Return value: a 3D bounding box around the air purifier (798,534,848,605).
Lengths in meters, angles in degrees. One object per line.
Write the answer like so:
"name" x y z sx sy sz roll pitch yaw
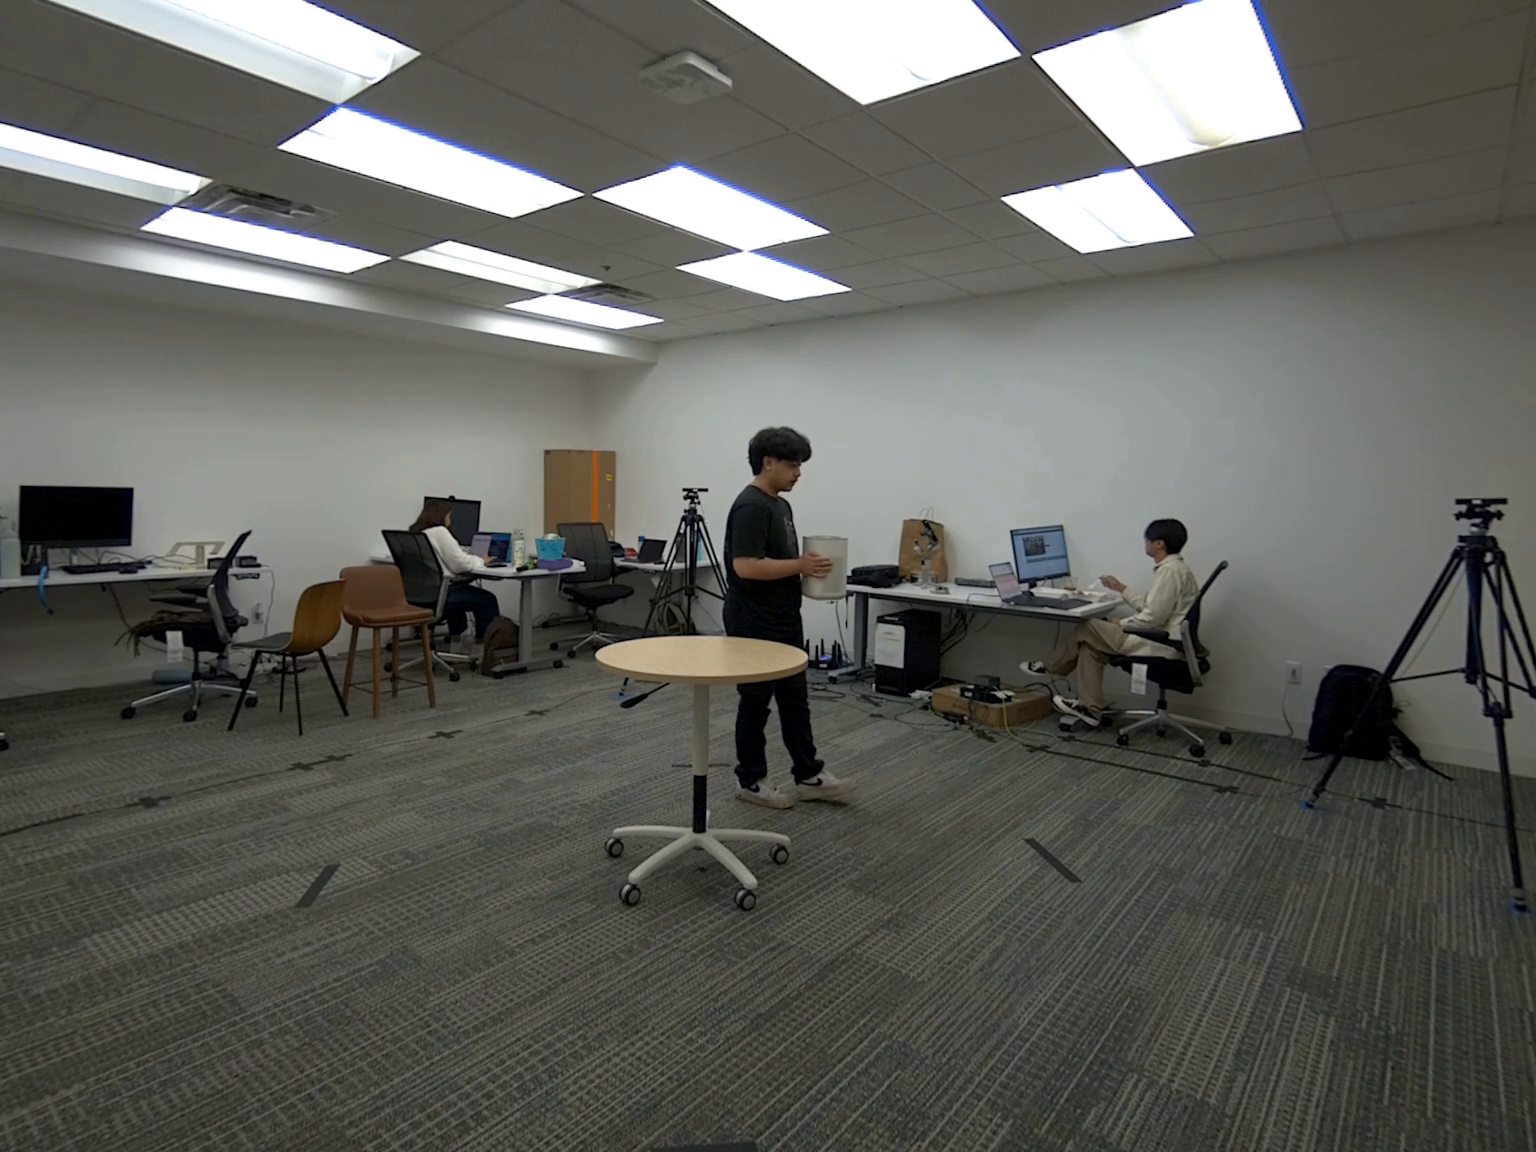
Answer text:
"air purifier" 0.221 -0.034 3.649 0.168 0.263 0.176 -1 10 -18
